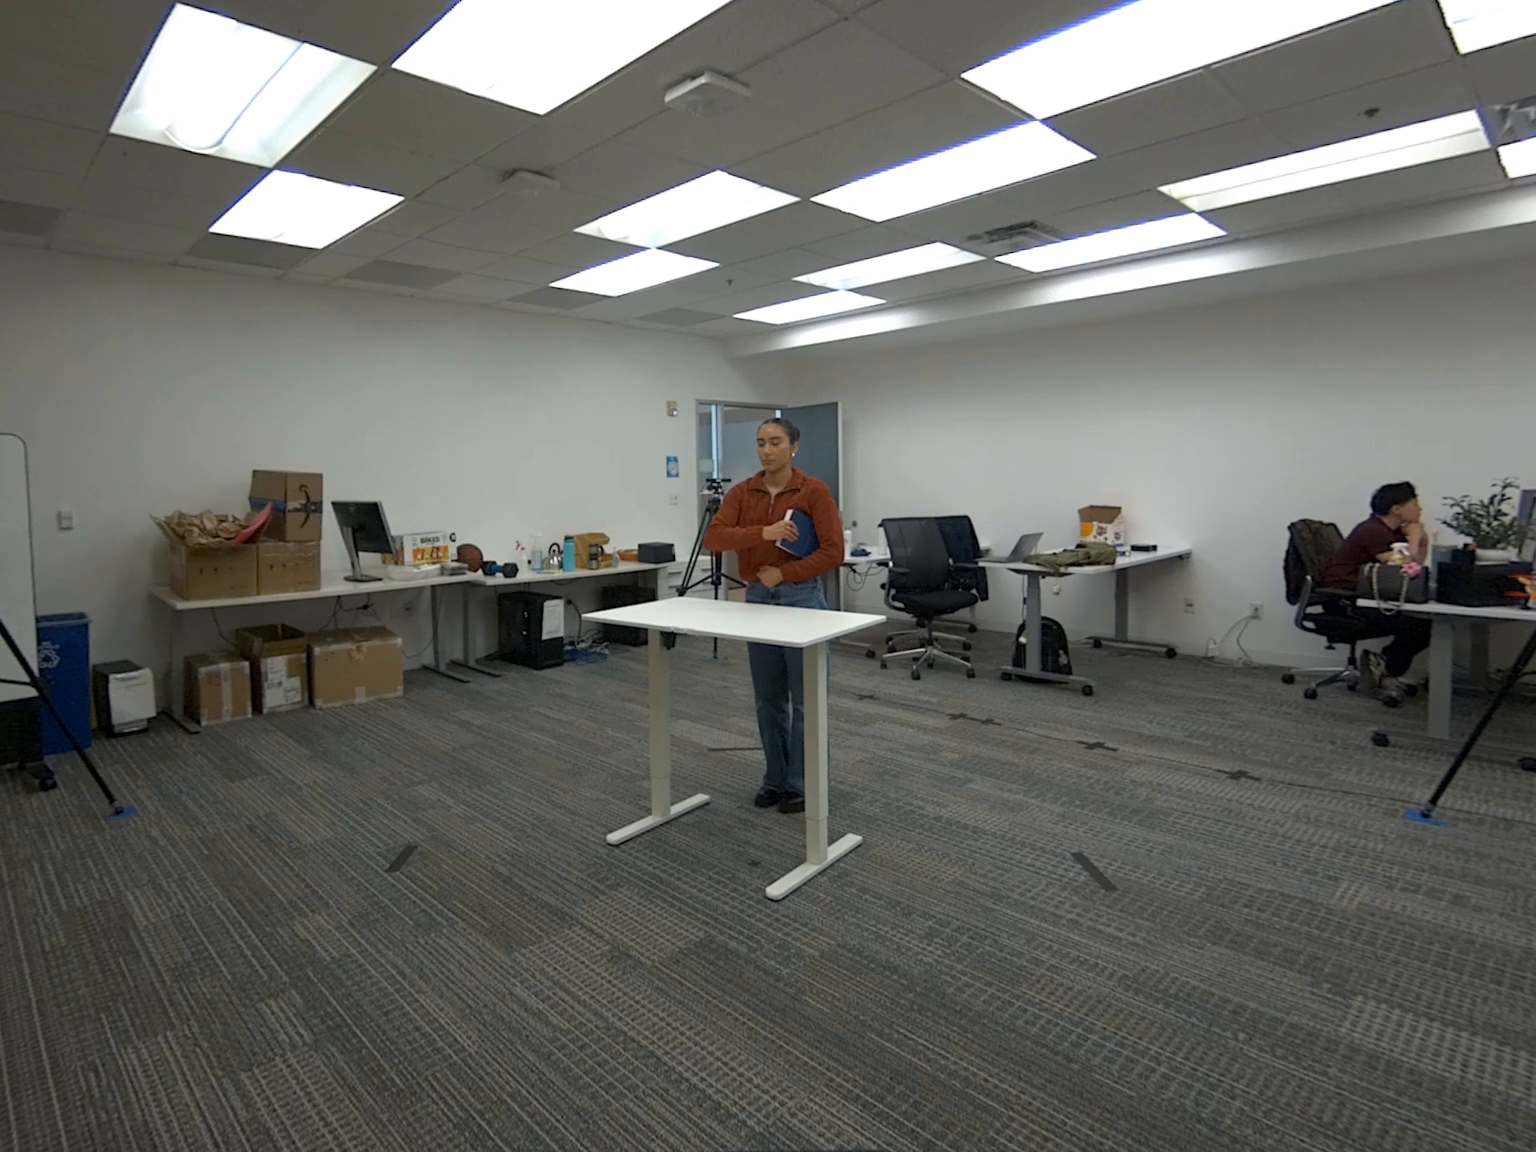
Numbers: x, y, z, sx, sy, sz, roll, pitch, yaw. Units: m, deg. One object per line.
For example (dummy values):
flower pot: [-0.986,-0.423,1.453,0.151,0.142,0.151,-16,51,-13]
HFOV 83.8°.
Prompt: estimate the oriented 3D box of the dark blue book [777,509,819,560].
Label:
dark blue book: [0.144,-0.153,3.528,0.237,0.164,0.046,27,-11,-30]
